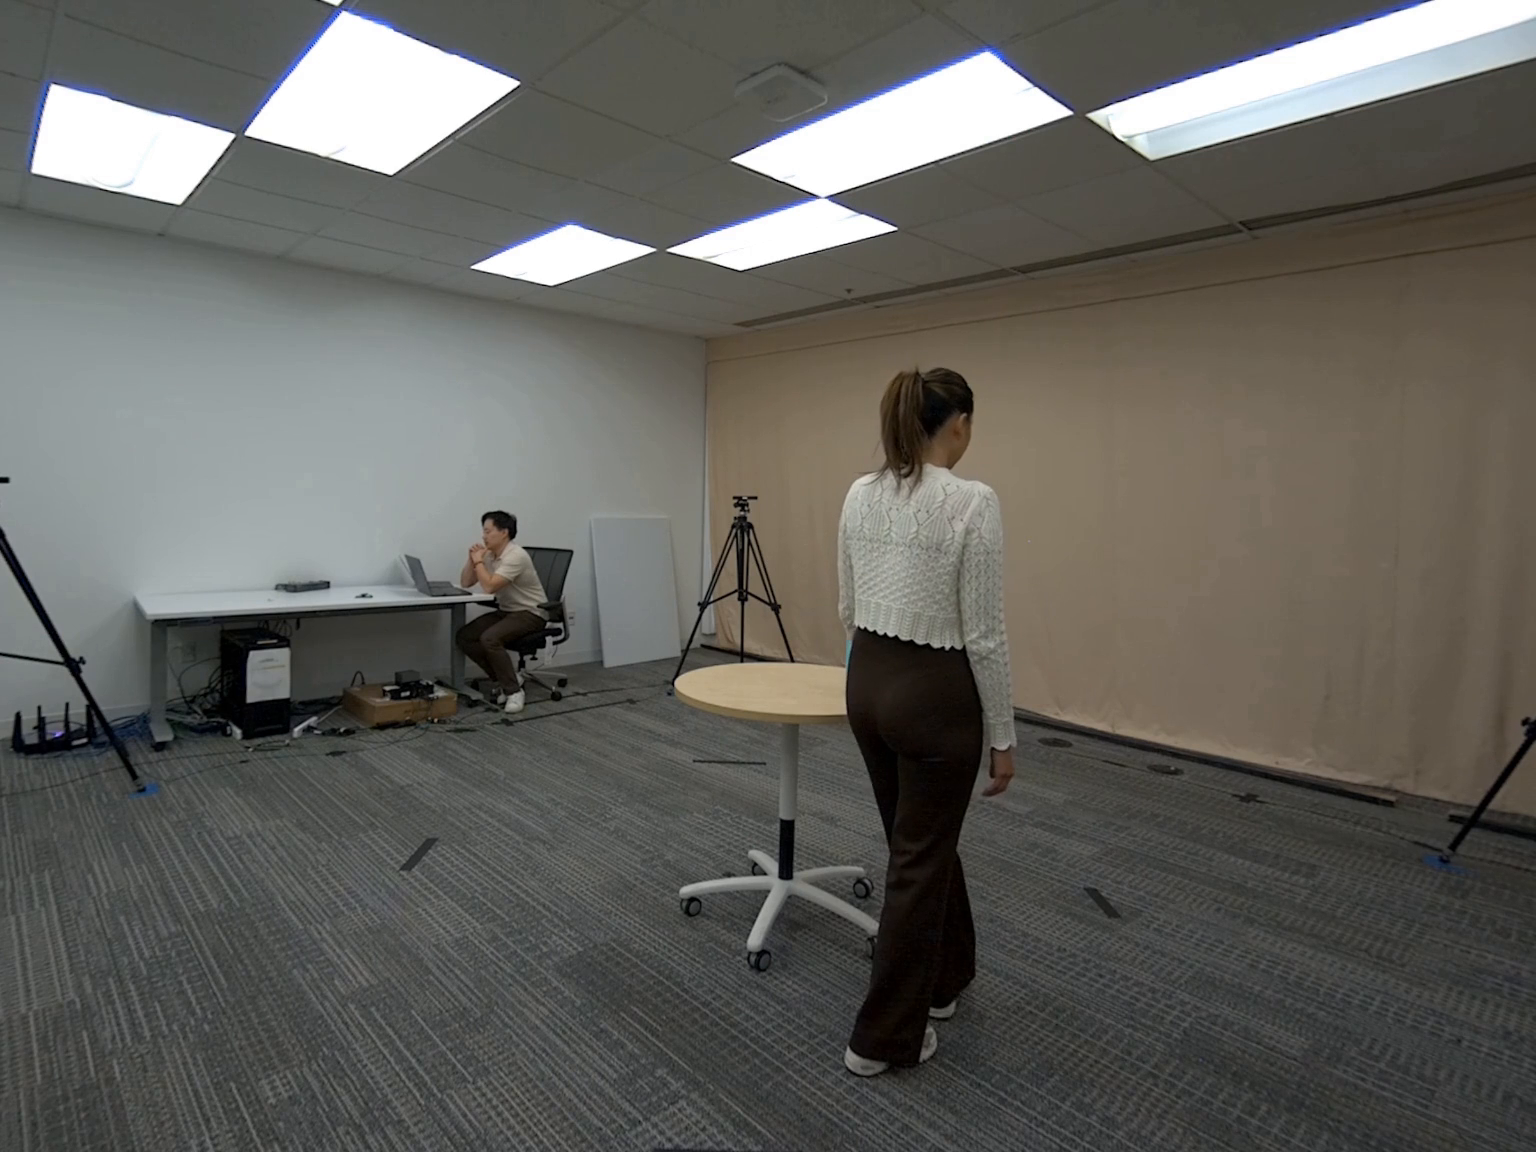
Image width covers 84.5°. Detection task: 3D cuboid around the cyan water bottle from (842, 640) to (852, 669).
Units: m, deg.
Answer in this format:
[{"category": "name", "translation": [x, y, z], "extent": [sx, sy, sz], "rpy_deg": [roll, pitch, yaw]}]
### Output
[{"category": "cyan water bottle", "translation": [0.300, 0.236, 2.658], "extent": [0.092, 0.283, 0.092], "rpy_deg": [3, 2, -2]}]
